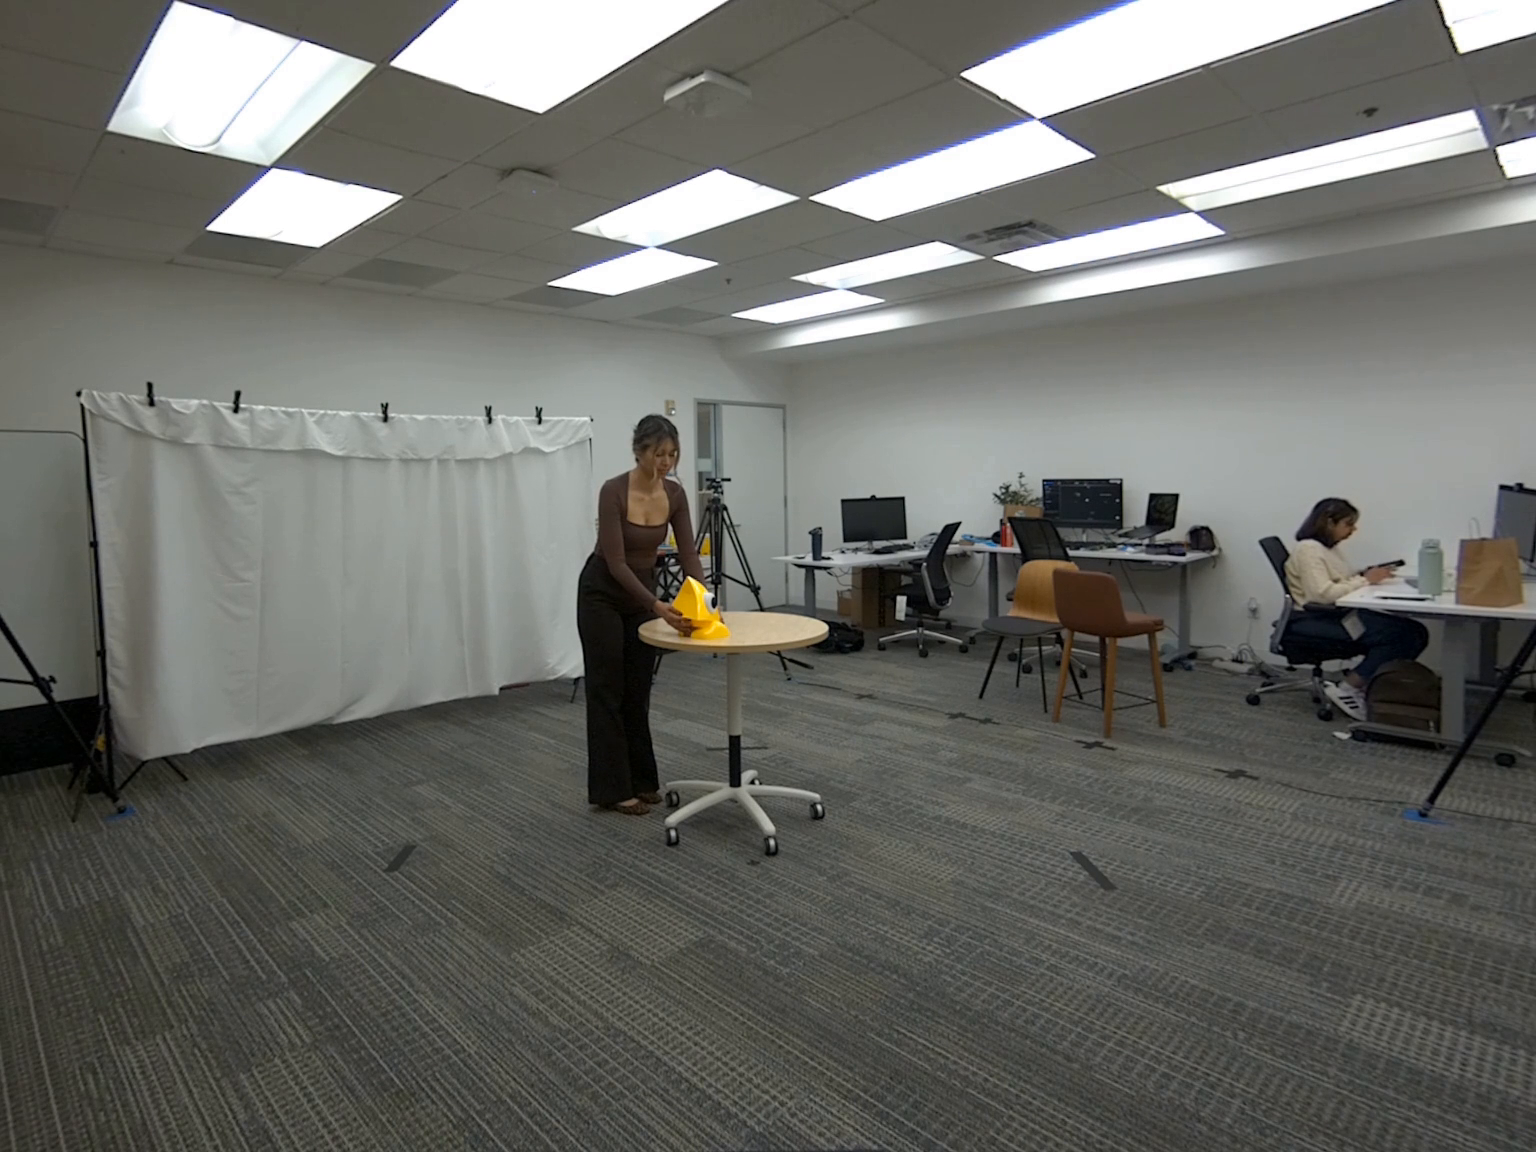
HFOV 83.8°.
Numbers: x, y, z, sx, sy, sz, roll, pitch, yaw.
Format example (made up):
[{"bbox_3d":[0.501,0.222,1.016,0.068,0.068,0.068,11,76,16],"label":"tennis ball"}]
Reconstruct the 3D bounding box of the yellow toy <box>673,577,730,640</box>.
[{"bbox_3d":[-0.261,0.113,3.283,0.188,0.230,0.211,-4,7,-38],"label":"yellow toy"}]
